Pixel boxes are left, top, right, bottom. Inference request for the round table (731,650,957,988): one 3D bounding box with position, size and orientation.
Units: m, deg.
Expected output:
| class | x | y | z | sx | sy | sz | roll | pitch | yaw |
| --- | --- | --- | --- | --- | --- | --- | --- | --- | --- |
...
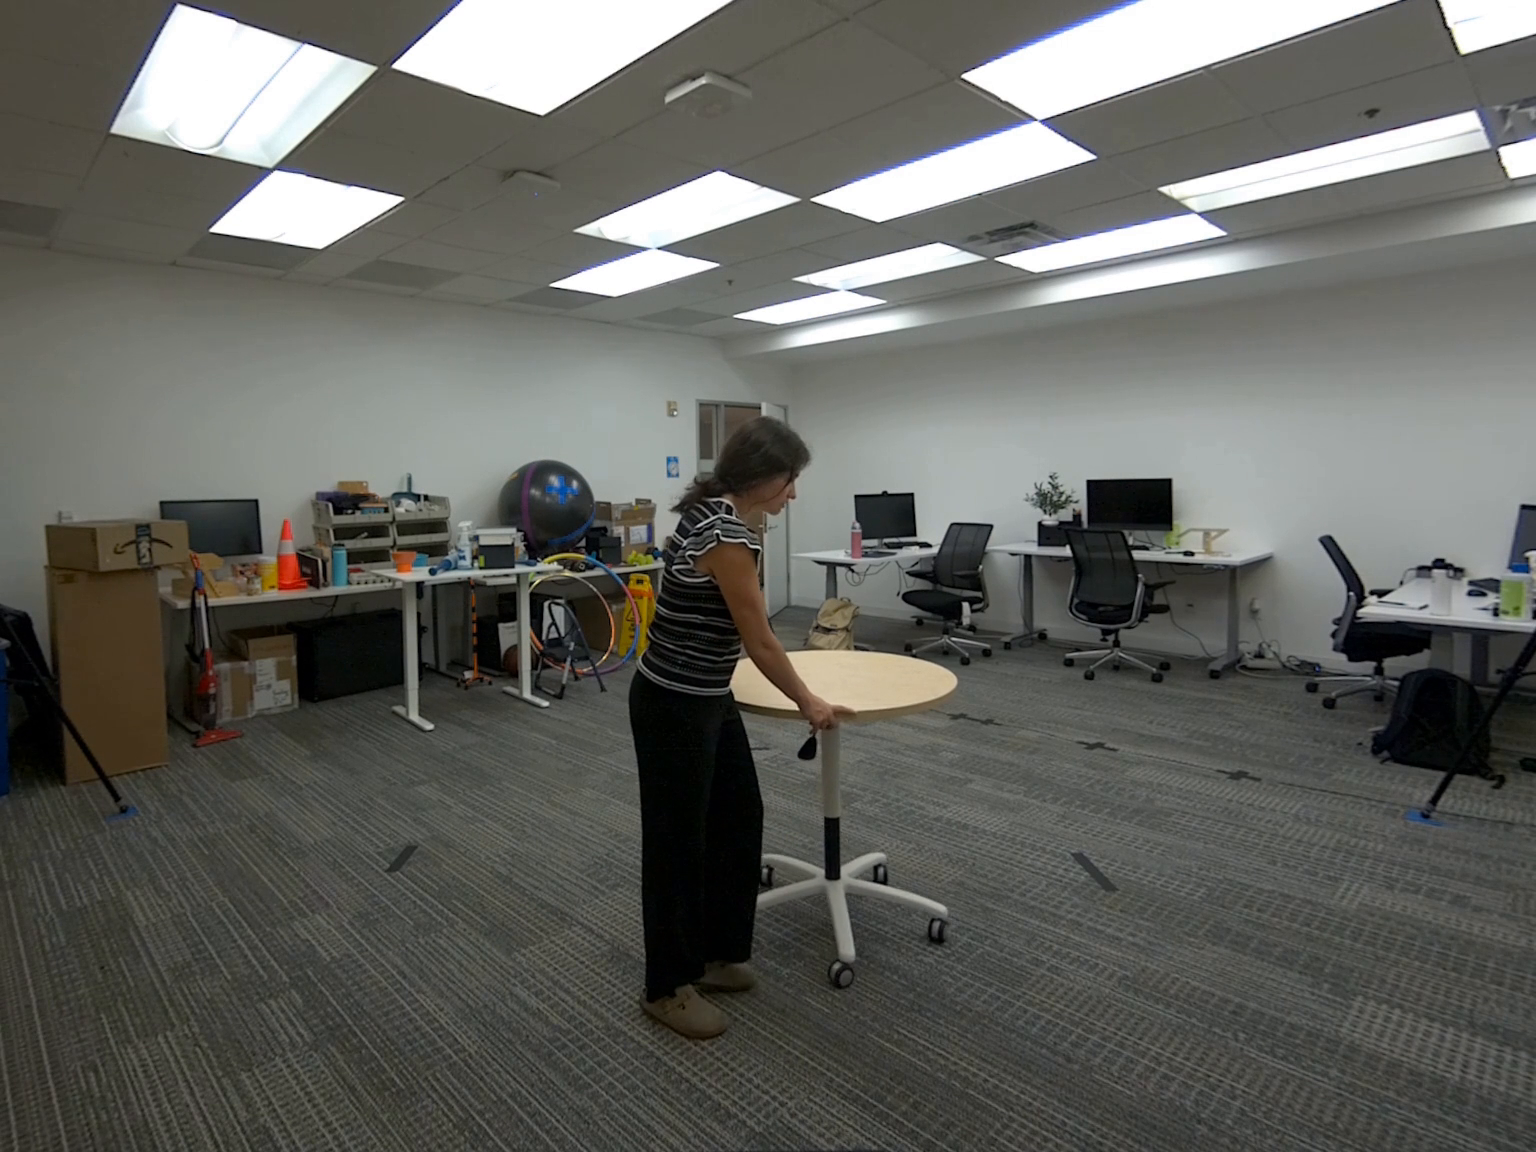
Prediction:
| class | x | y | z | sx | sy | sz | roll | pitch | yaw |
| --- | --- | --- | --- | --- | --- | --- | --- | --- | --- |
| round table | 0.204 | 0.702 | 2.676 | 0.763 | 0.790 | 0.768 | -1 | 5 | -2 |
